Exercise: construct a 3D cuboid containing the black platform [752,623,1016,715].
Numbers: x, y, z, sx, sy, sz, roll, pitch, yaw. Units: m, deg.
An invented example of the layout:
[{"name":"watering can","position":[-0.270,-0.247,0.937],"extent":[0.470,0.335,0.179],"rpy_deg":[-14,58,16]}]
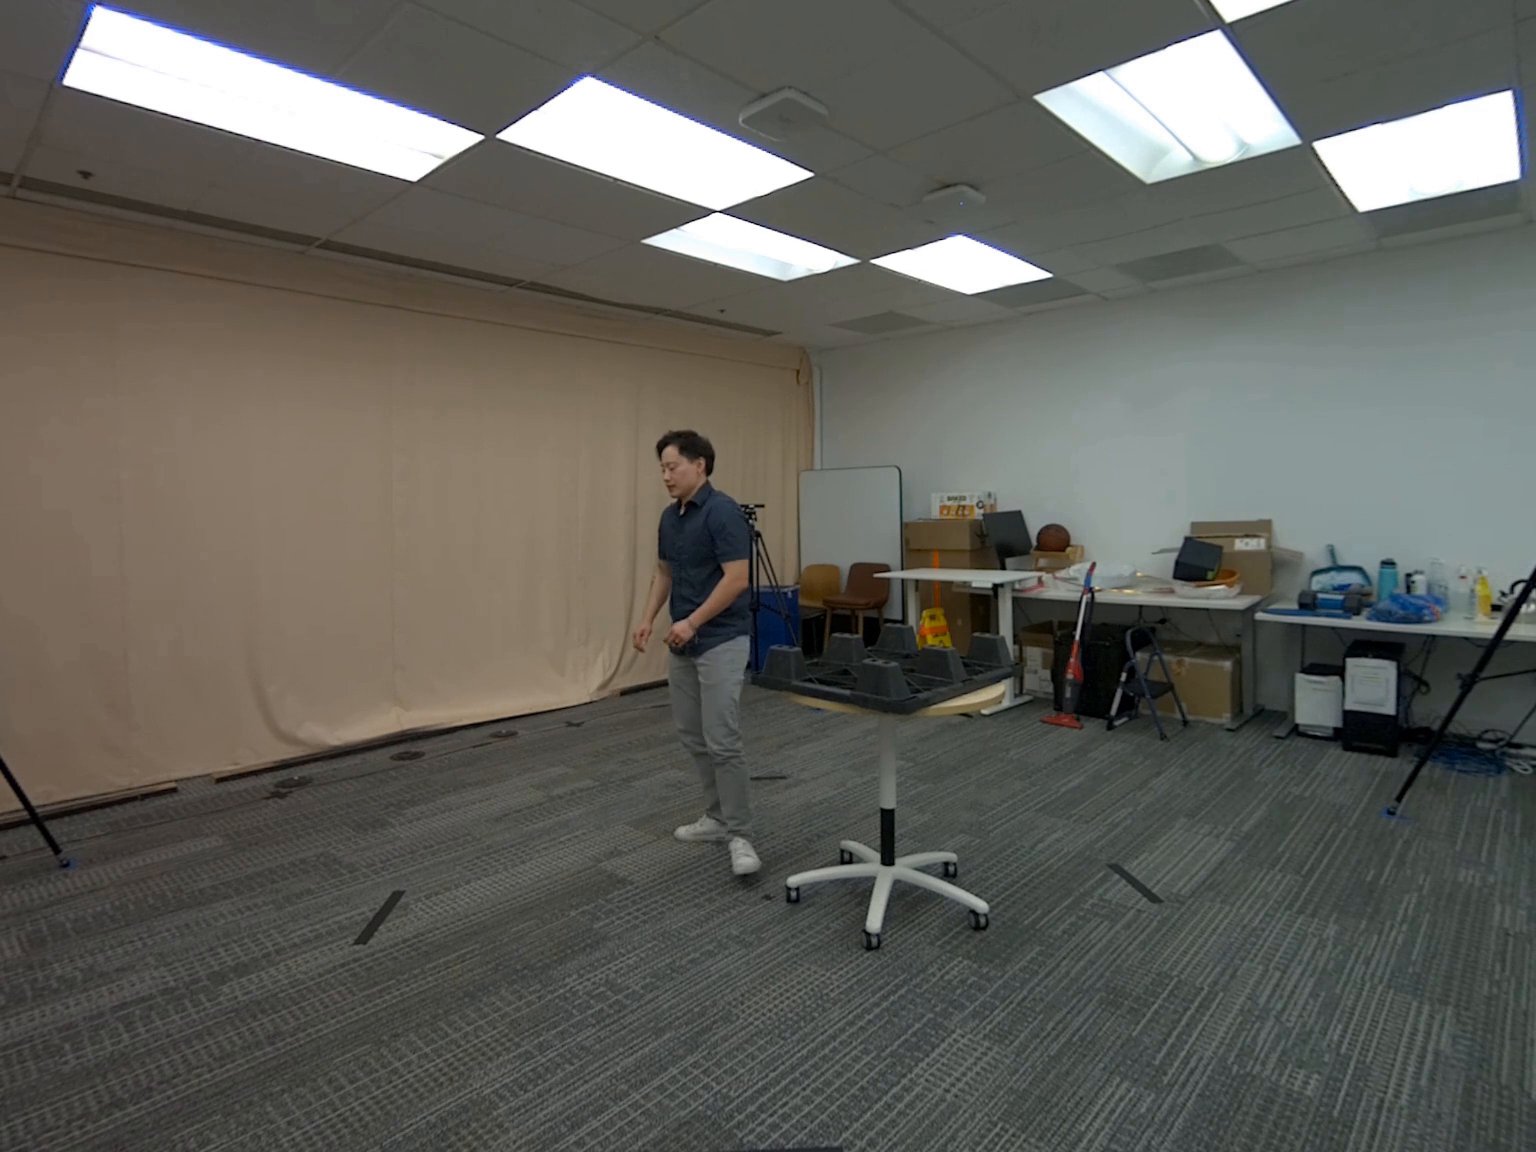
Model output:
[{"name":"black platform","position":[0.427,0.294,2.874],"extent":[0.625,0.143,0.781],"rpy_deg":[4,7,43]}]
